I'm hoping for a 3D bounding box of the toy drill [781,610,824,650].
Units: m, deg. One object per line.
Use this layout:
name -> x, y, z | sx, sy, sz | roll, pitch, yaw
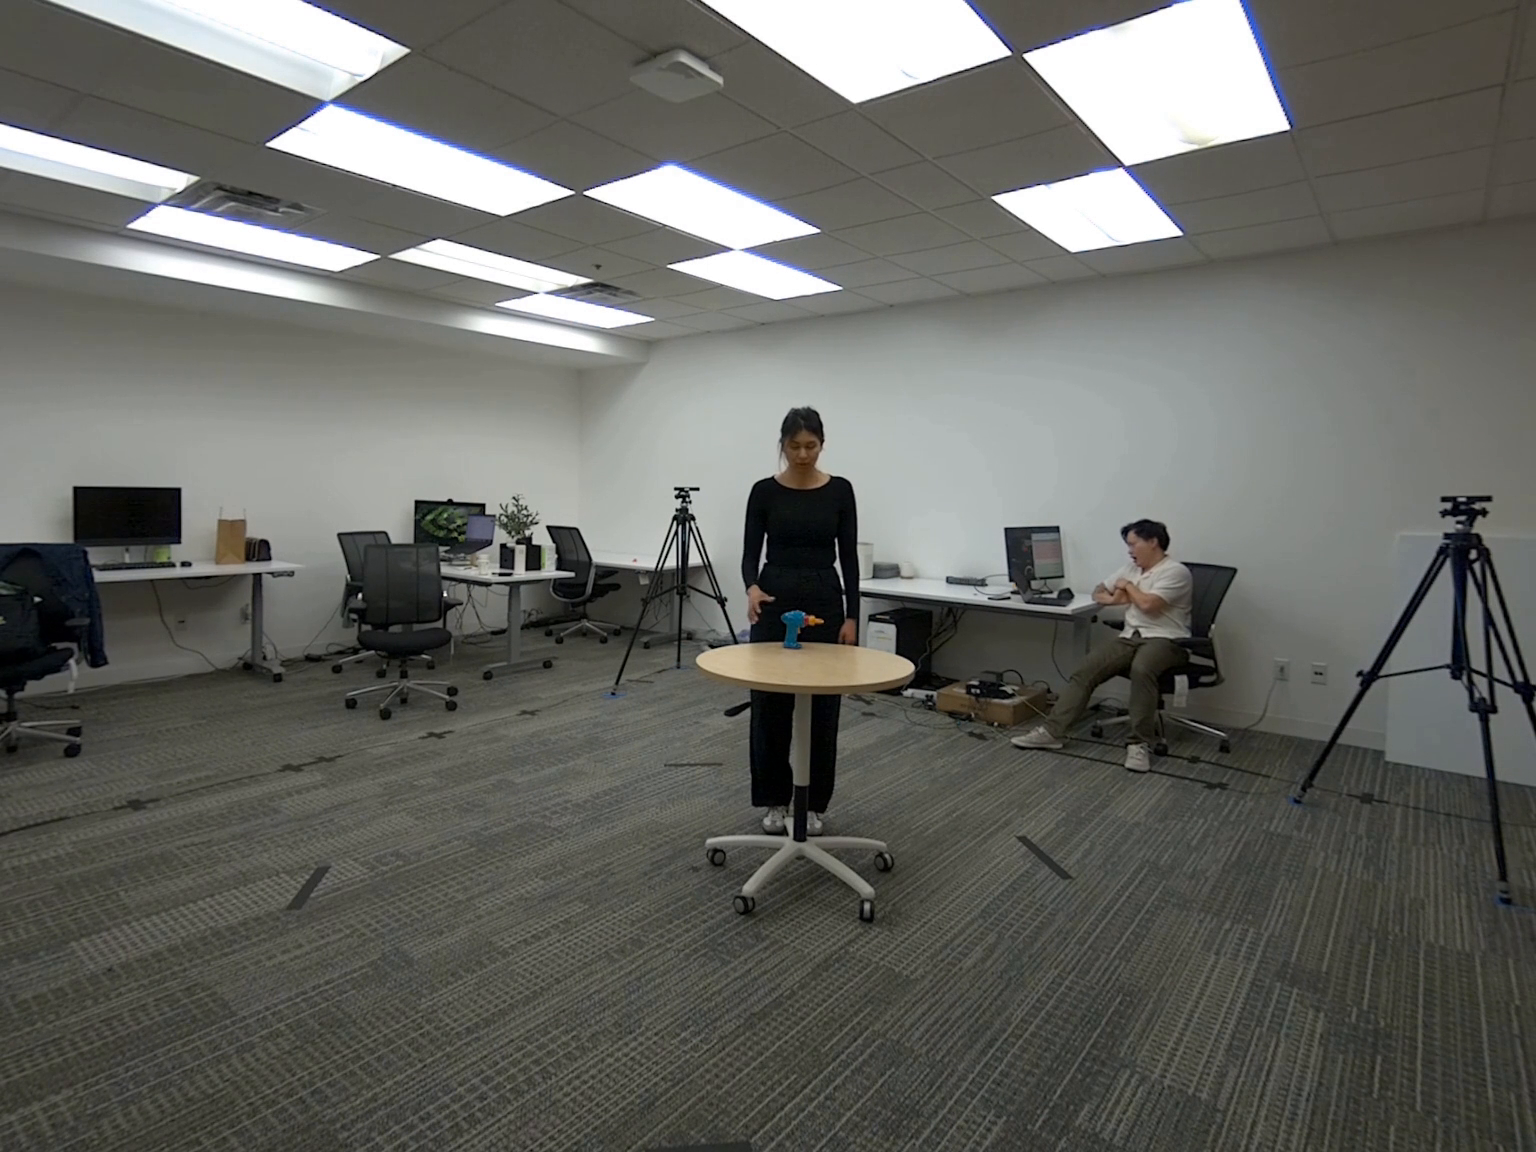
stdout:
toy drill -> 0.129, 0.203, 3.249 | 0.173, 0.146, 0.060 | 3, 2, 20
